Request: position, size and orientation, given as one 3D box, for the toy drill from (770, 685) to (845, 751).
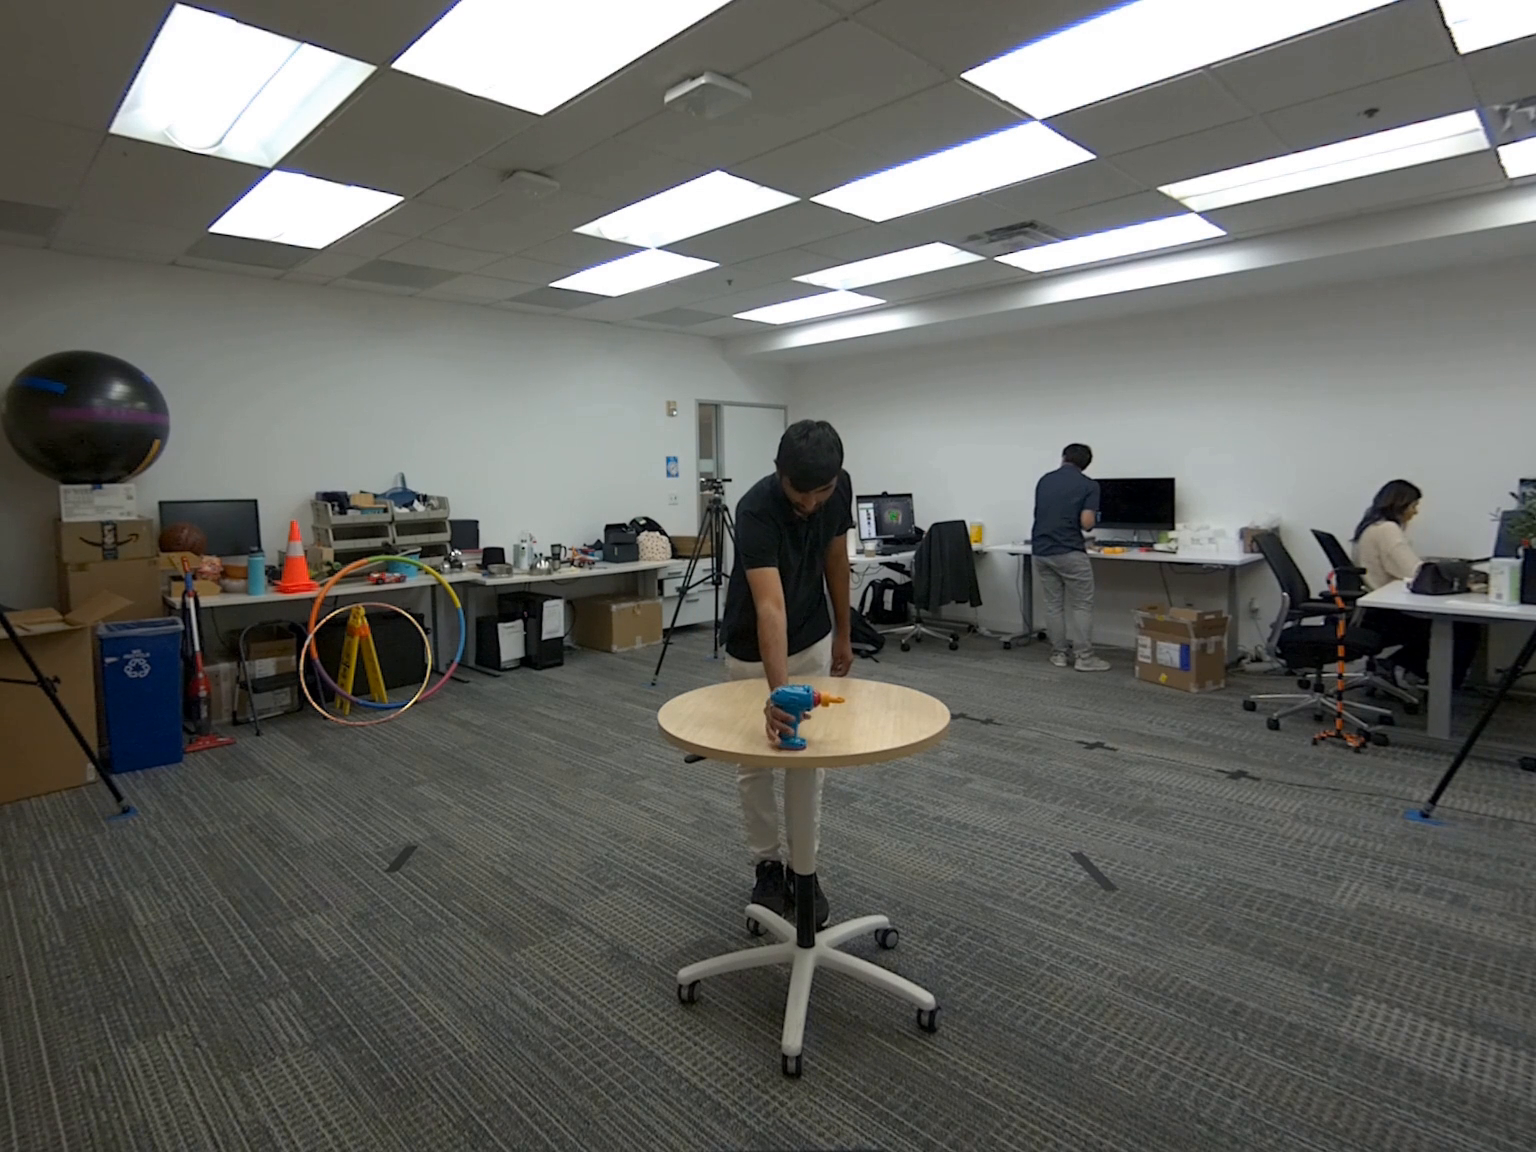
[{"bbox_3d":[0.090,0.317,1.949,0.170,0.146,0.061,0,3,5],"label":"toy drill"}]
